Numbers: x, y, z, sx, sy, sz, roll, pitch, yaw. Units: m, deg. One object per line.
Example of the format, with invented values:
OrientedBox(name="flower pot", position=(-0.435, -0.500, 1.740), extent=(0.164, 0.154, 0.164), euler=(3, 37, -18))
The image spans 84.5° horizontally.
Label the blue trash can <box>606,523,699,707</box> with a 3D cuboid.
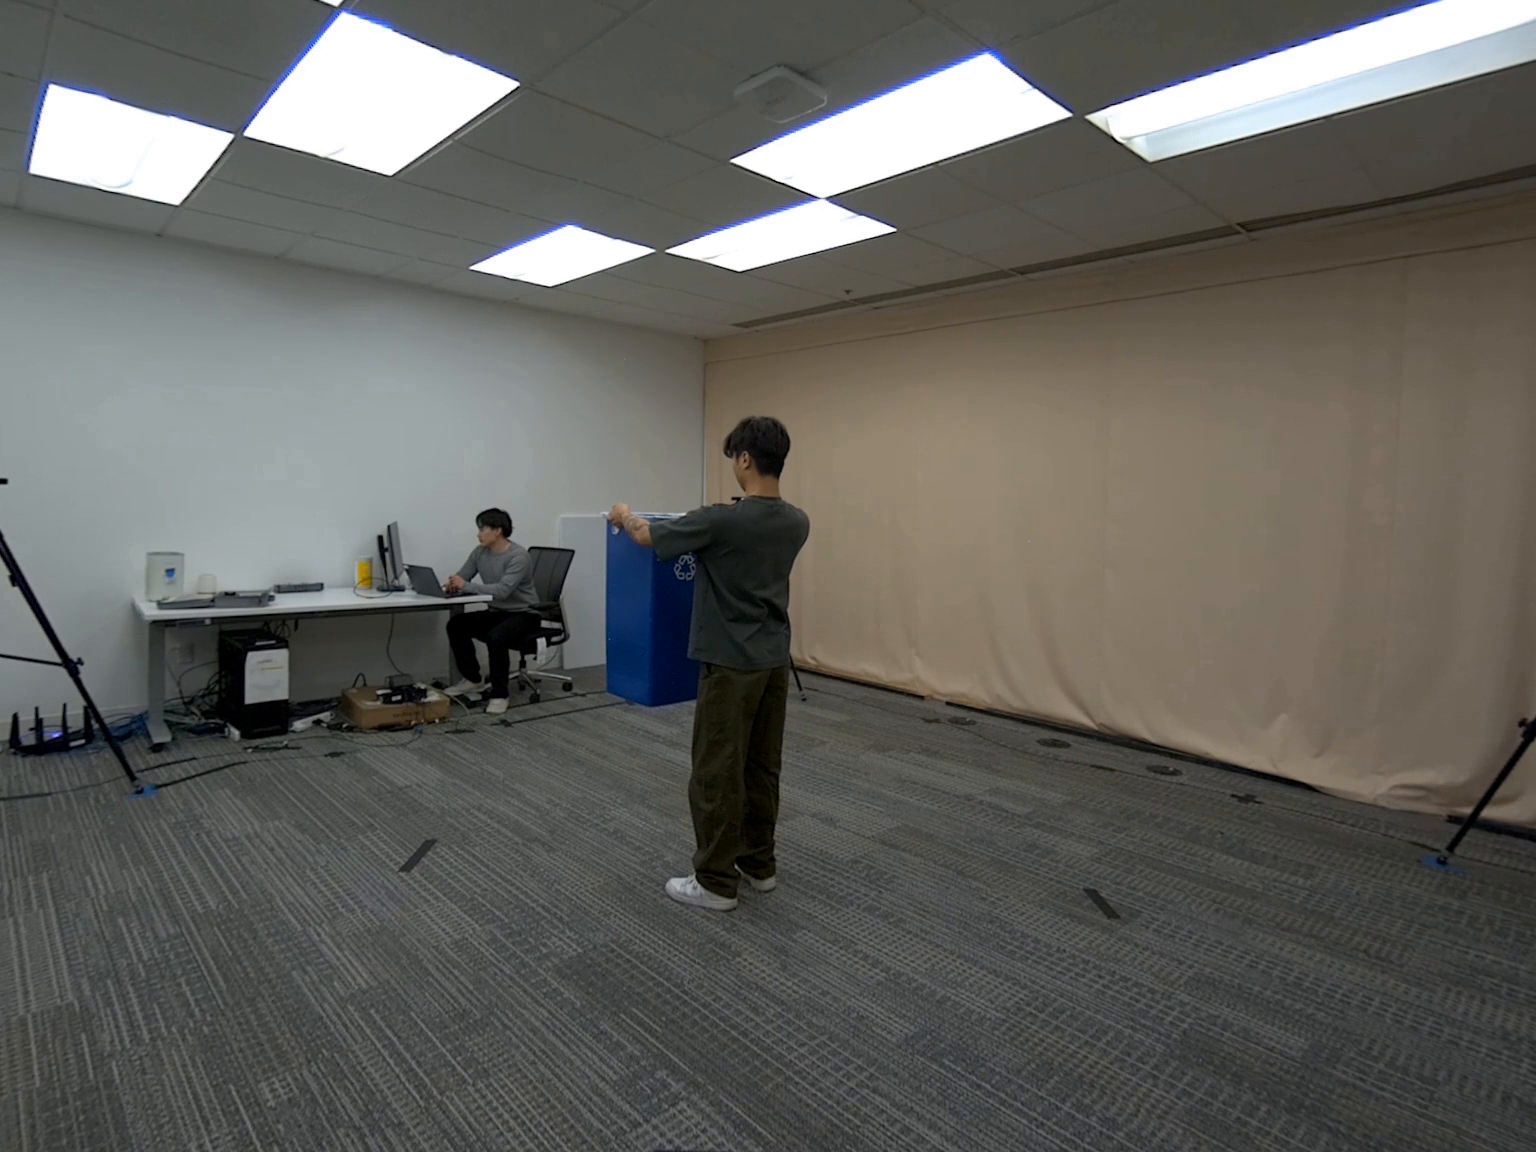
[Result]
OrientedBox(name="blue trash can", position=(-0.440, 0.119, 3.318), extent=(0.369, 0.711, 0.384), euler=(-1, 6, -44))
